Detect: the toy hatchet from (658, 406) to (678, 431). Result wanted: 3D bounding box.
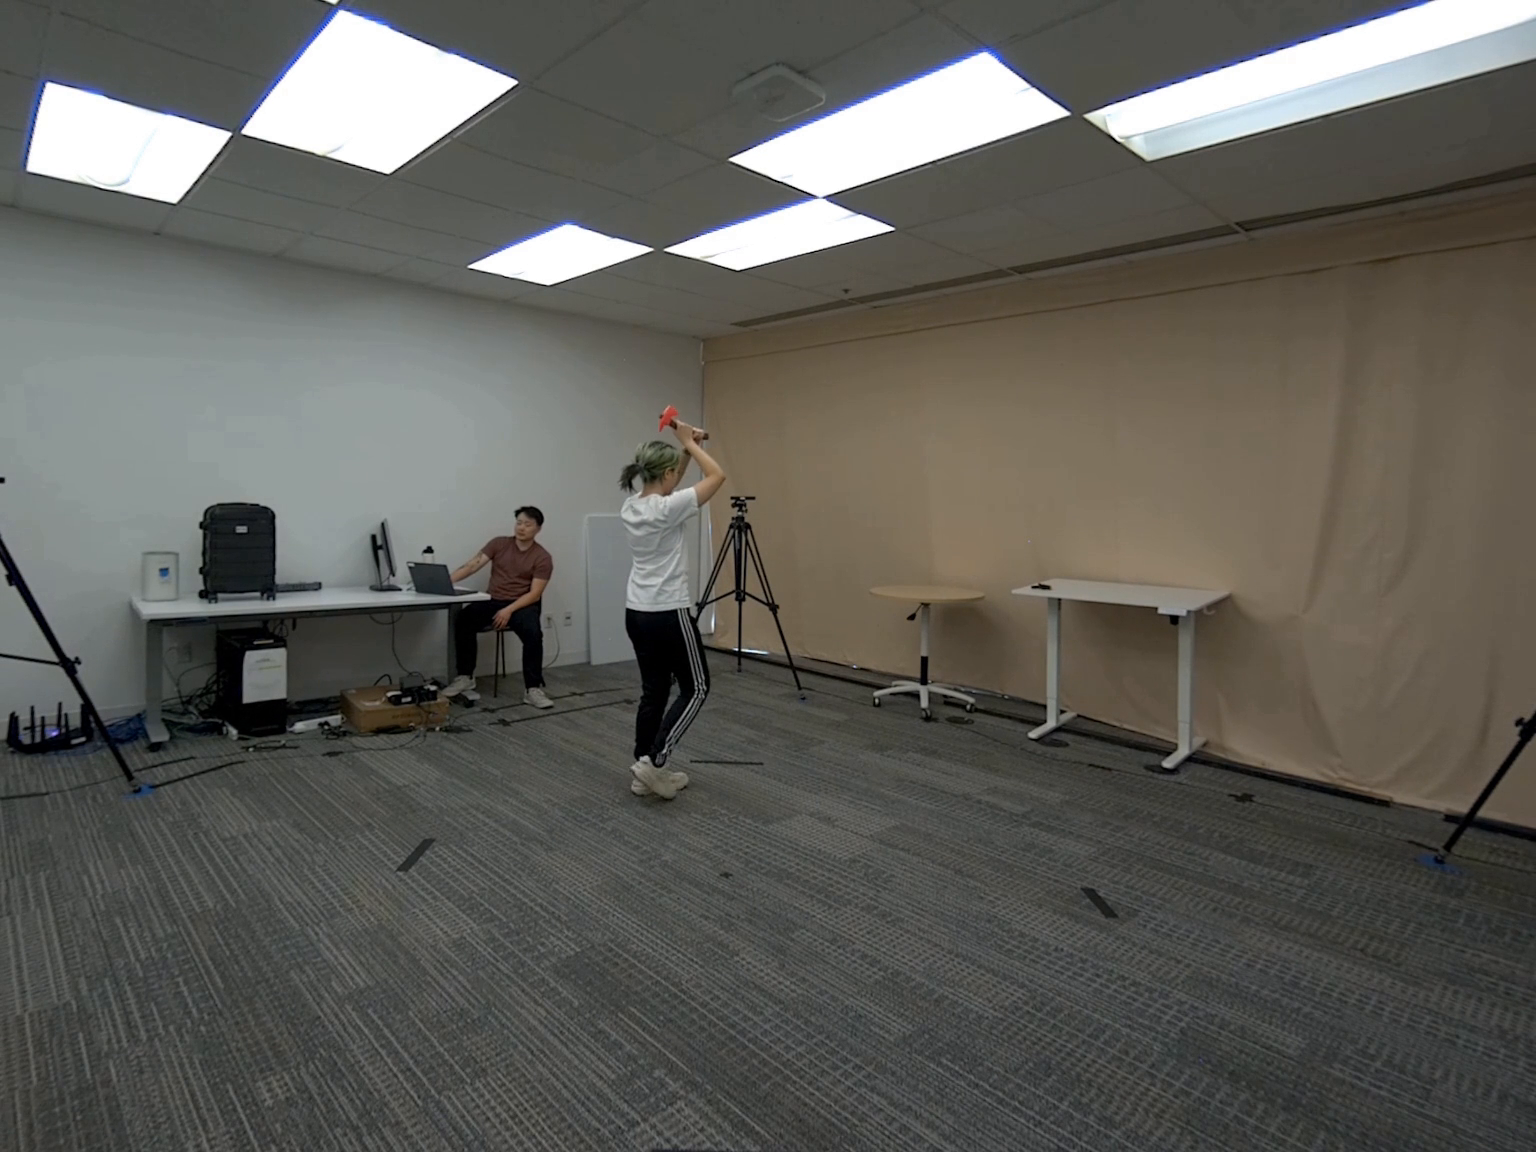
[{"bbox_3d":[-0.398,-0.723,3.943,0.264,0.131,0.030,4,1,-35],"label":"toy hatchet"}]
